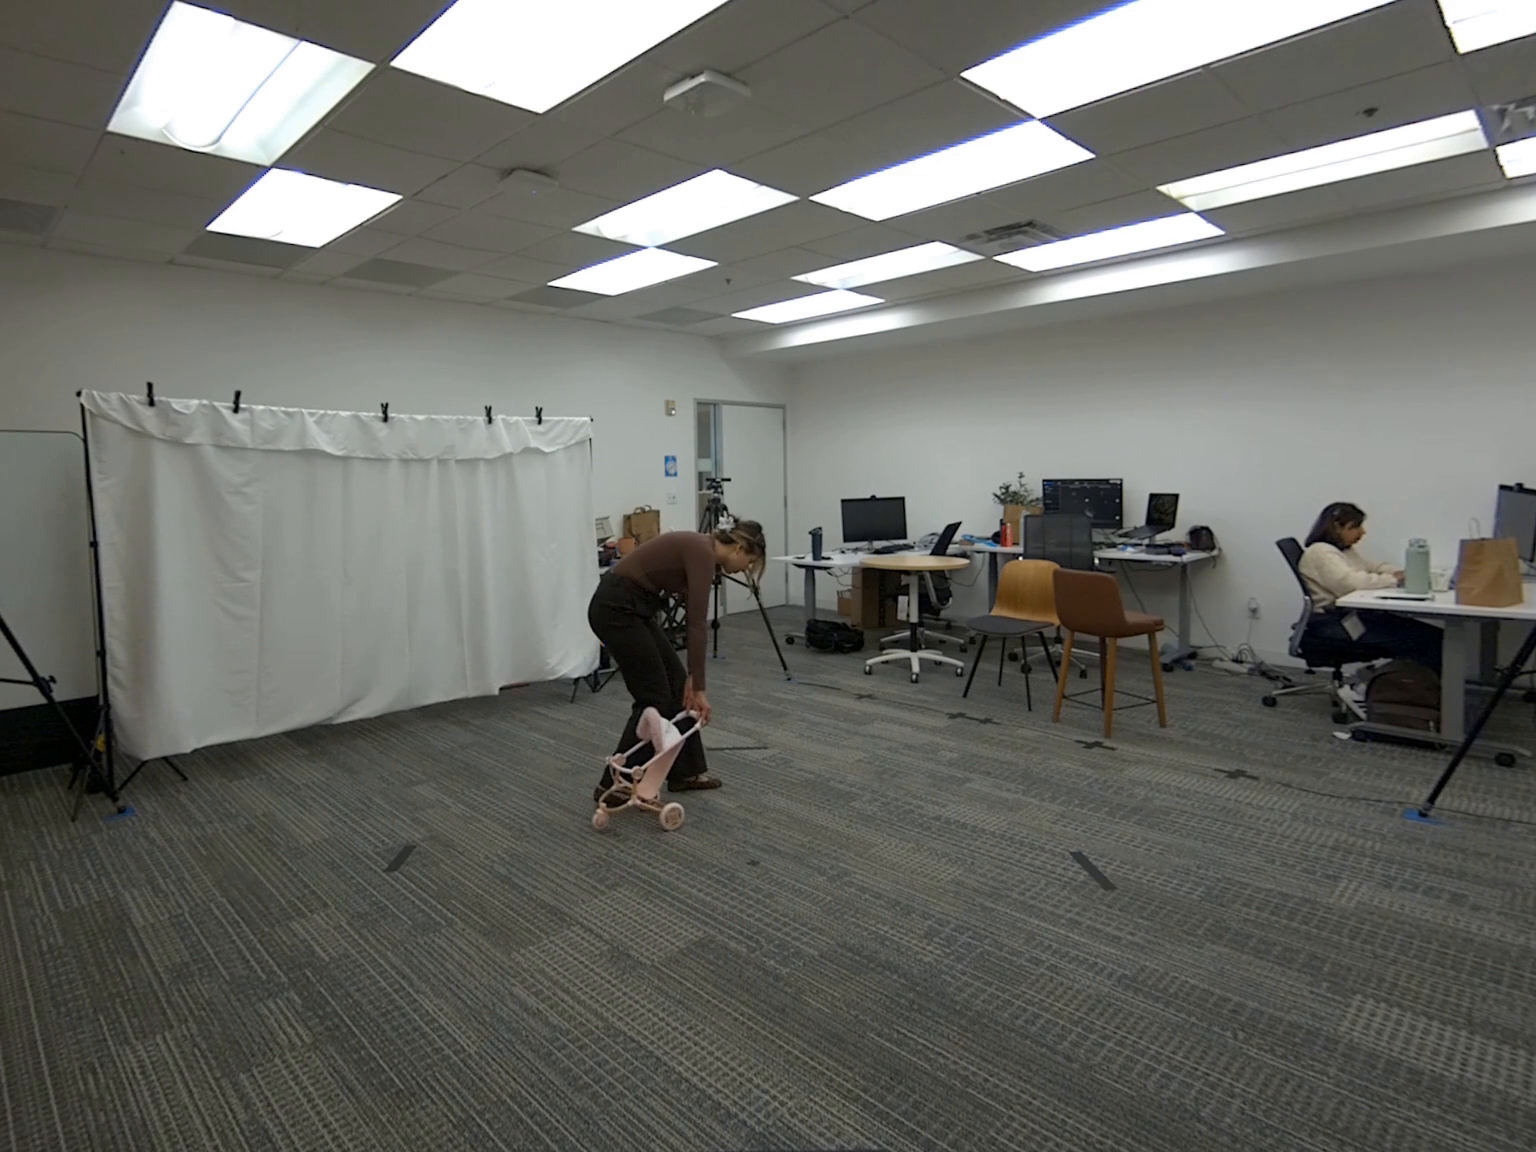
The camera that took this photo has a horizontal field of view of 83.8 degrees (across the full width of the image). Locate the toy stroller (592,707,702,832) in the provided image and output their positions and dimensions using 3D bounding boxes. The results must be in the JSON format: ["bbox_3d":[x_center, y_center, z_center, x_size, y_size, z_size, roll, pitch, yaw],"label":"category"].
[{"bbox_3d":[-0.500,0.783,3.485,0.332,0.537,0.288,18,-5,-24],"label":"toy stroller"}]
